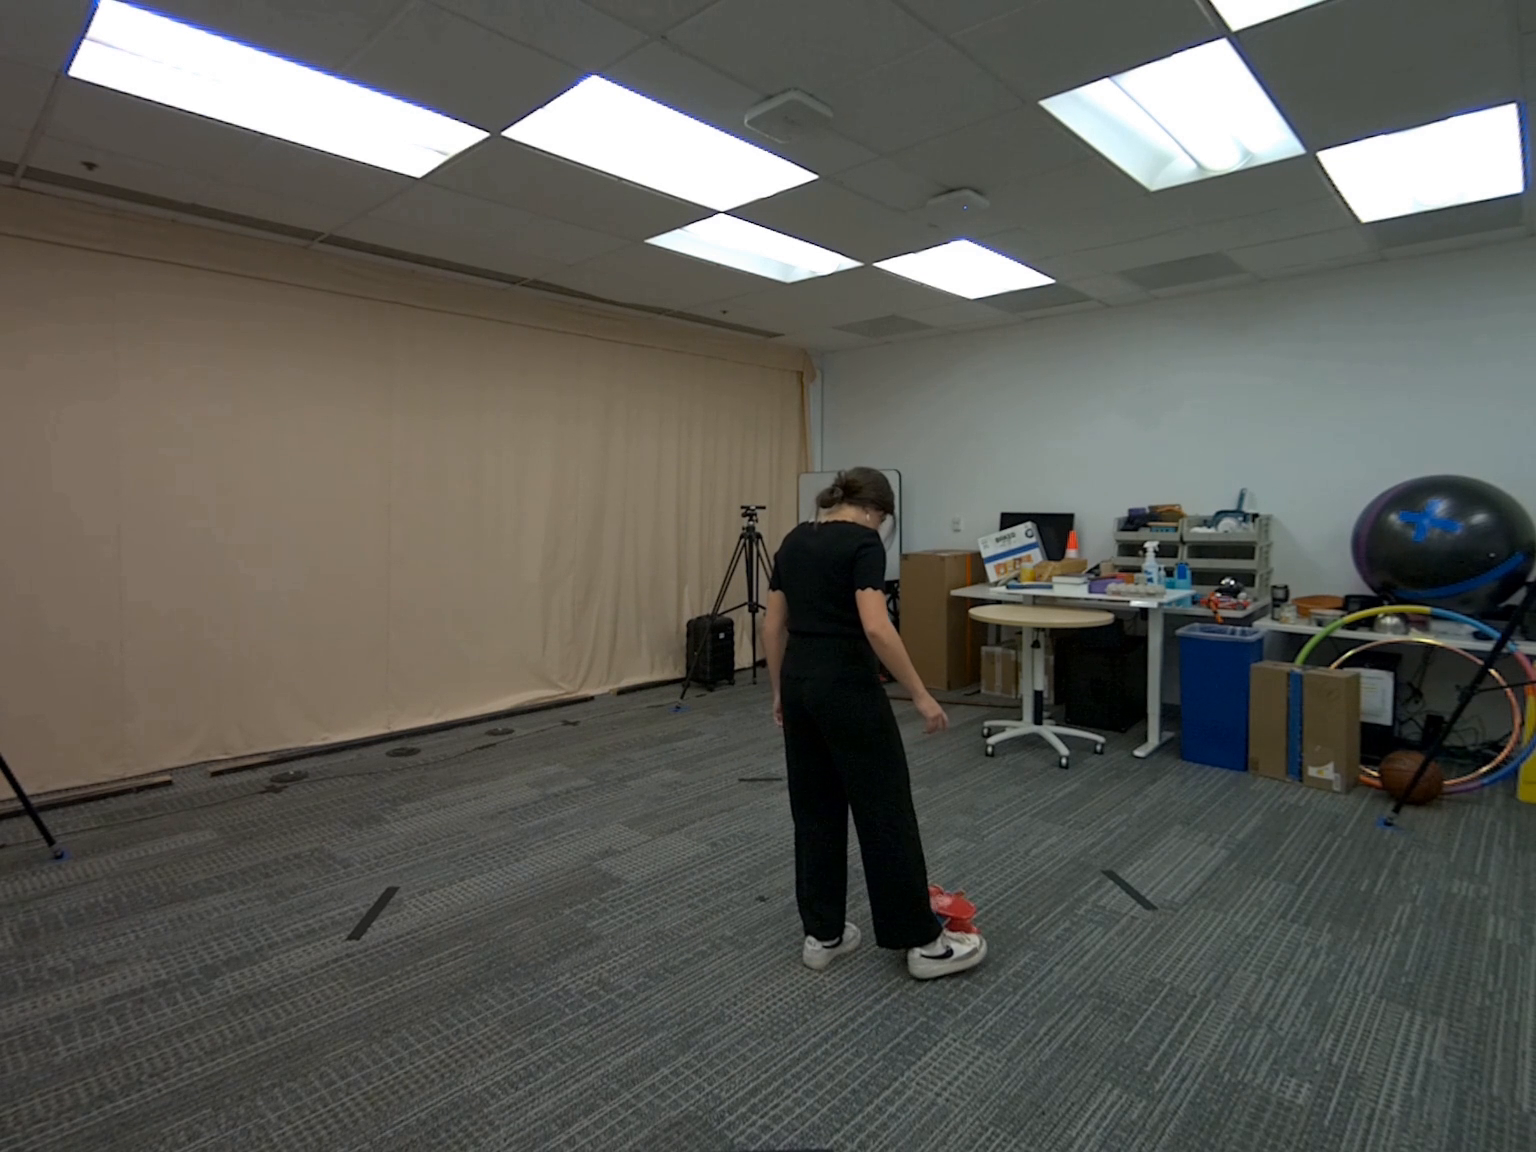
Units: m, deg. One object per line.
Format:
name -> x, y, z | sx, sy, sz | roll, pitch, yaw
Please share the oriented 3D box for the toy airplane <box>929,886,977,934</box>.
toy airplane -> 0.535, 1.095, 2.639 | 0.255, 0.156, 0.255 | 1, 3, 14
